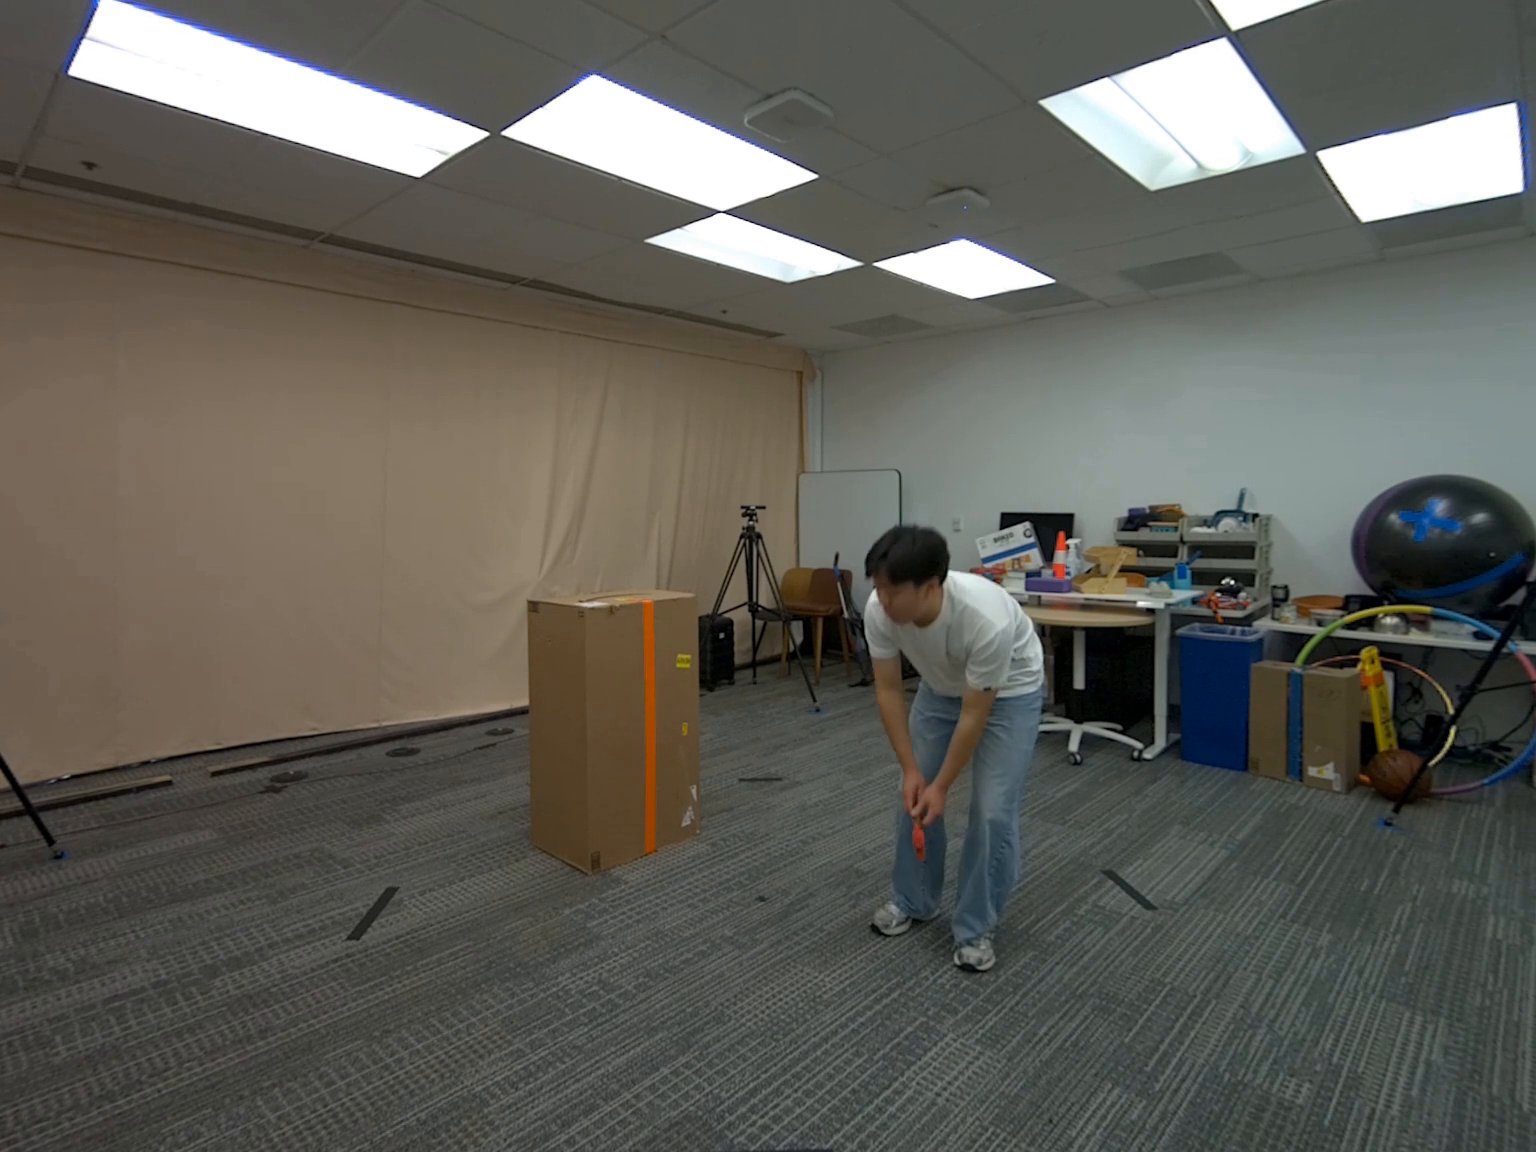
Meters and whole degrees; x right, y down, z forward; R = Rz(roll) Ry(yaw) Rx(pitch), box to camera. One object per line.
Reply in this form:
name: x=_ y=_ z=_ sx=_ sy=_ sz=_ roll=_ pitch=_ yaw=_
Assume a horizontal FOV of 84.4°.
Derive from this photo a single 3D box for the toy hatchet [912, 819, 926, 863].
toy hatchet: x=0.474 y=0.827 z=2.512 sx=0.030 sy=0.262 sz=0.134 roll=-18 pitch=39 yaw=6
